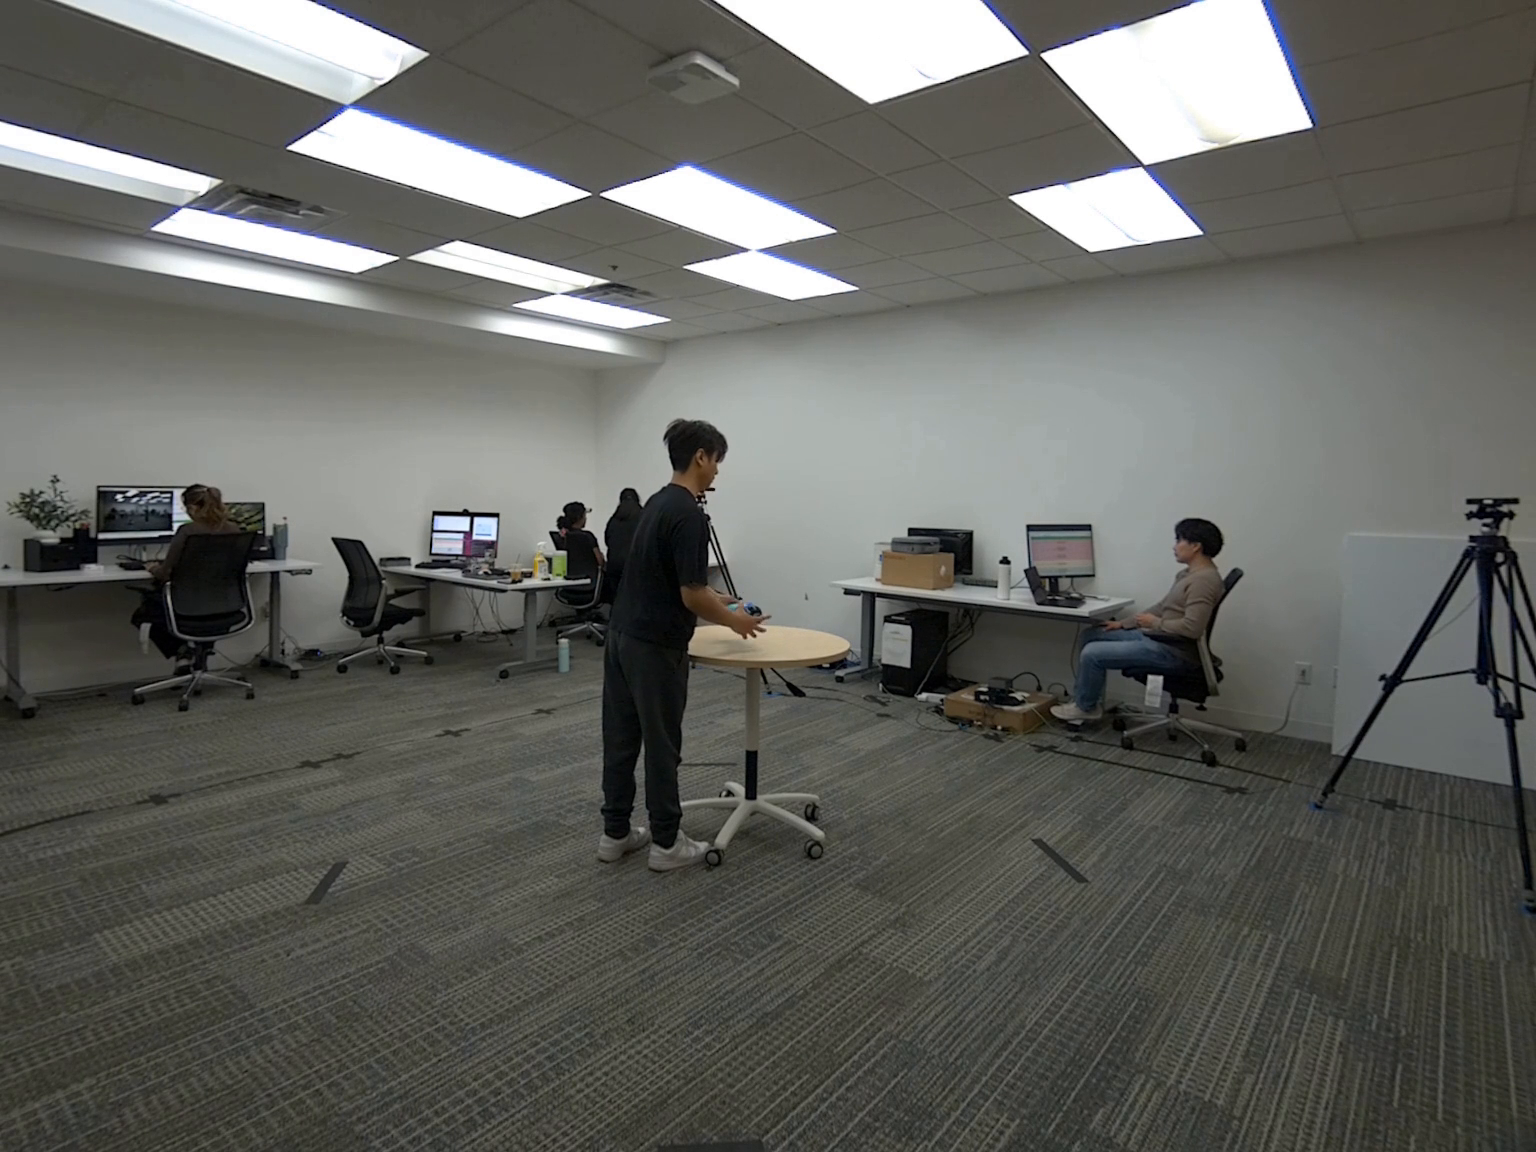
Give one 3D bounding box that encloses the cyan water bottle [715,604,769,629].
[{"bbox_3d":[-0.112,0.159,3.332,0.090,0.092,0.290,-1,-2,-28],"label":"cyan water bottle"}]
